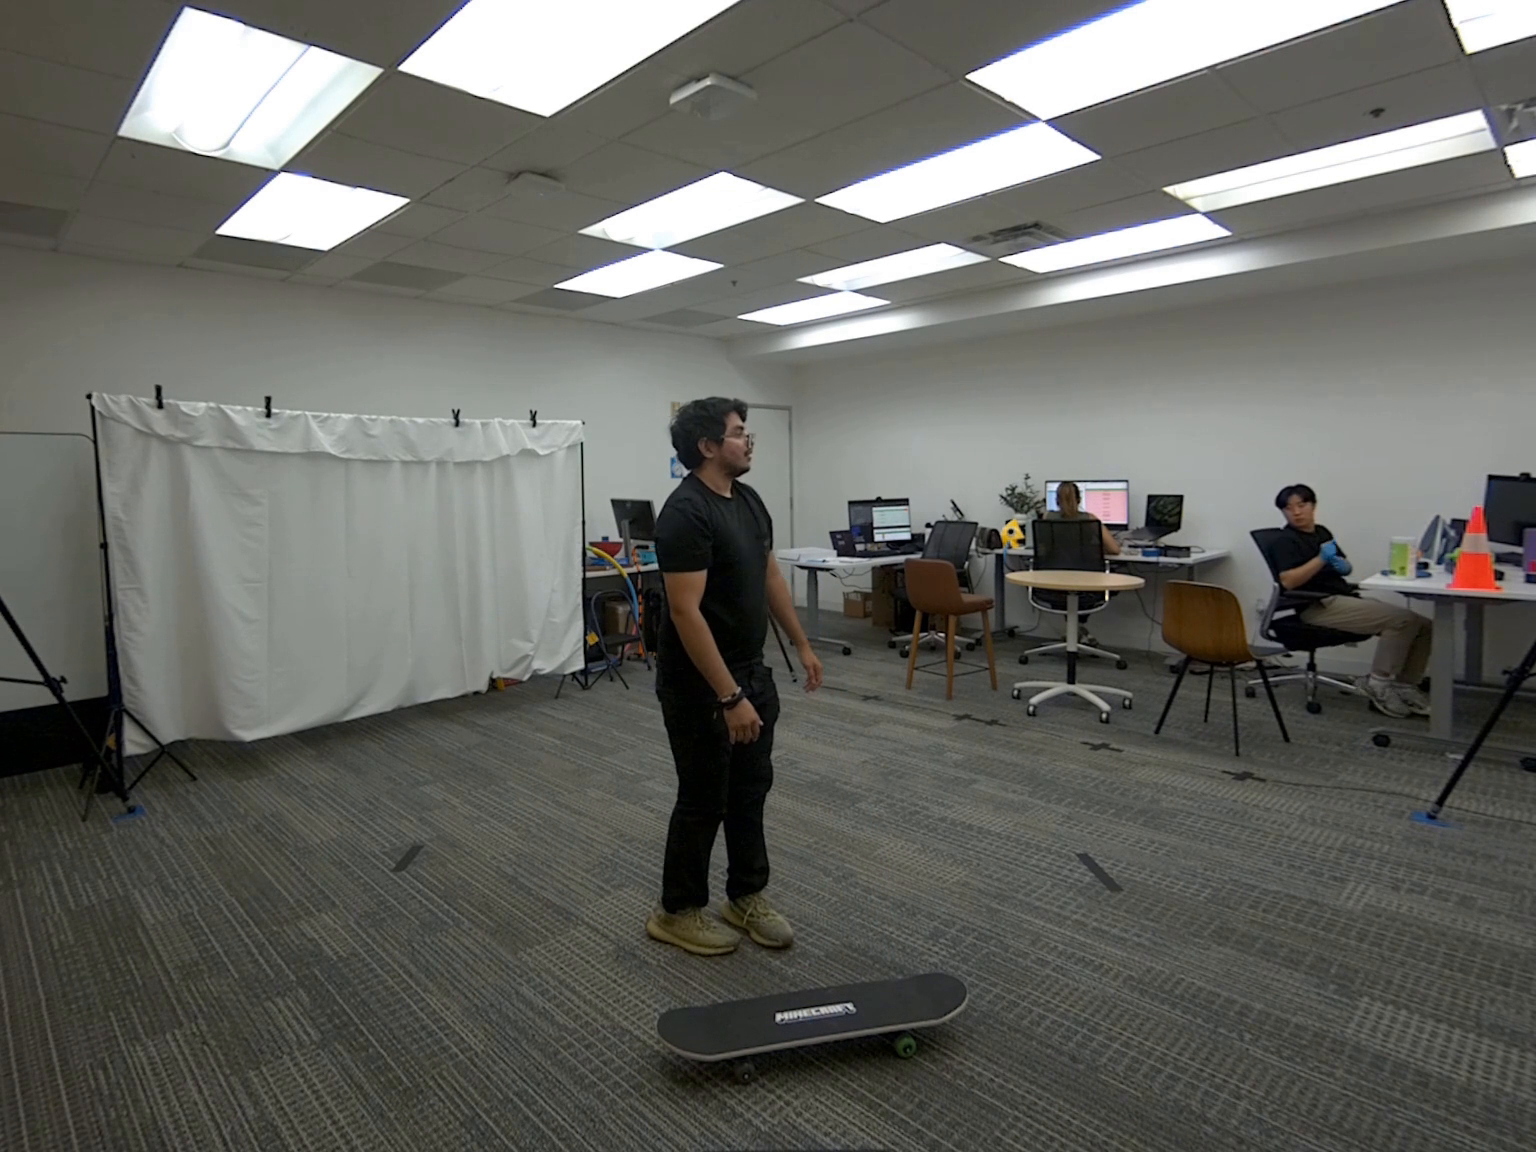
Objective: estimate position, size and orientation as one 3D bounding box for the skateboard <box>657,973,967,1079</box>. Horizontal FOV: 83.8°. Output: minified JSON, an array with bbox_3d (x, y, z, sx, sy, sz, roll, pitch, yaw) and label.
[{"bbox_3d":[0.127,1.102,2.106,0.777,0.110,0.196,-3,6,-11],"label":"skateboard"}]
